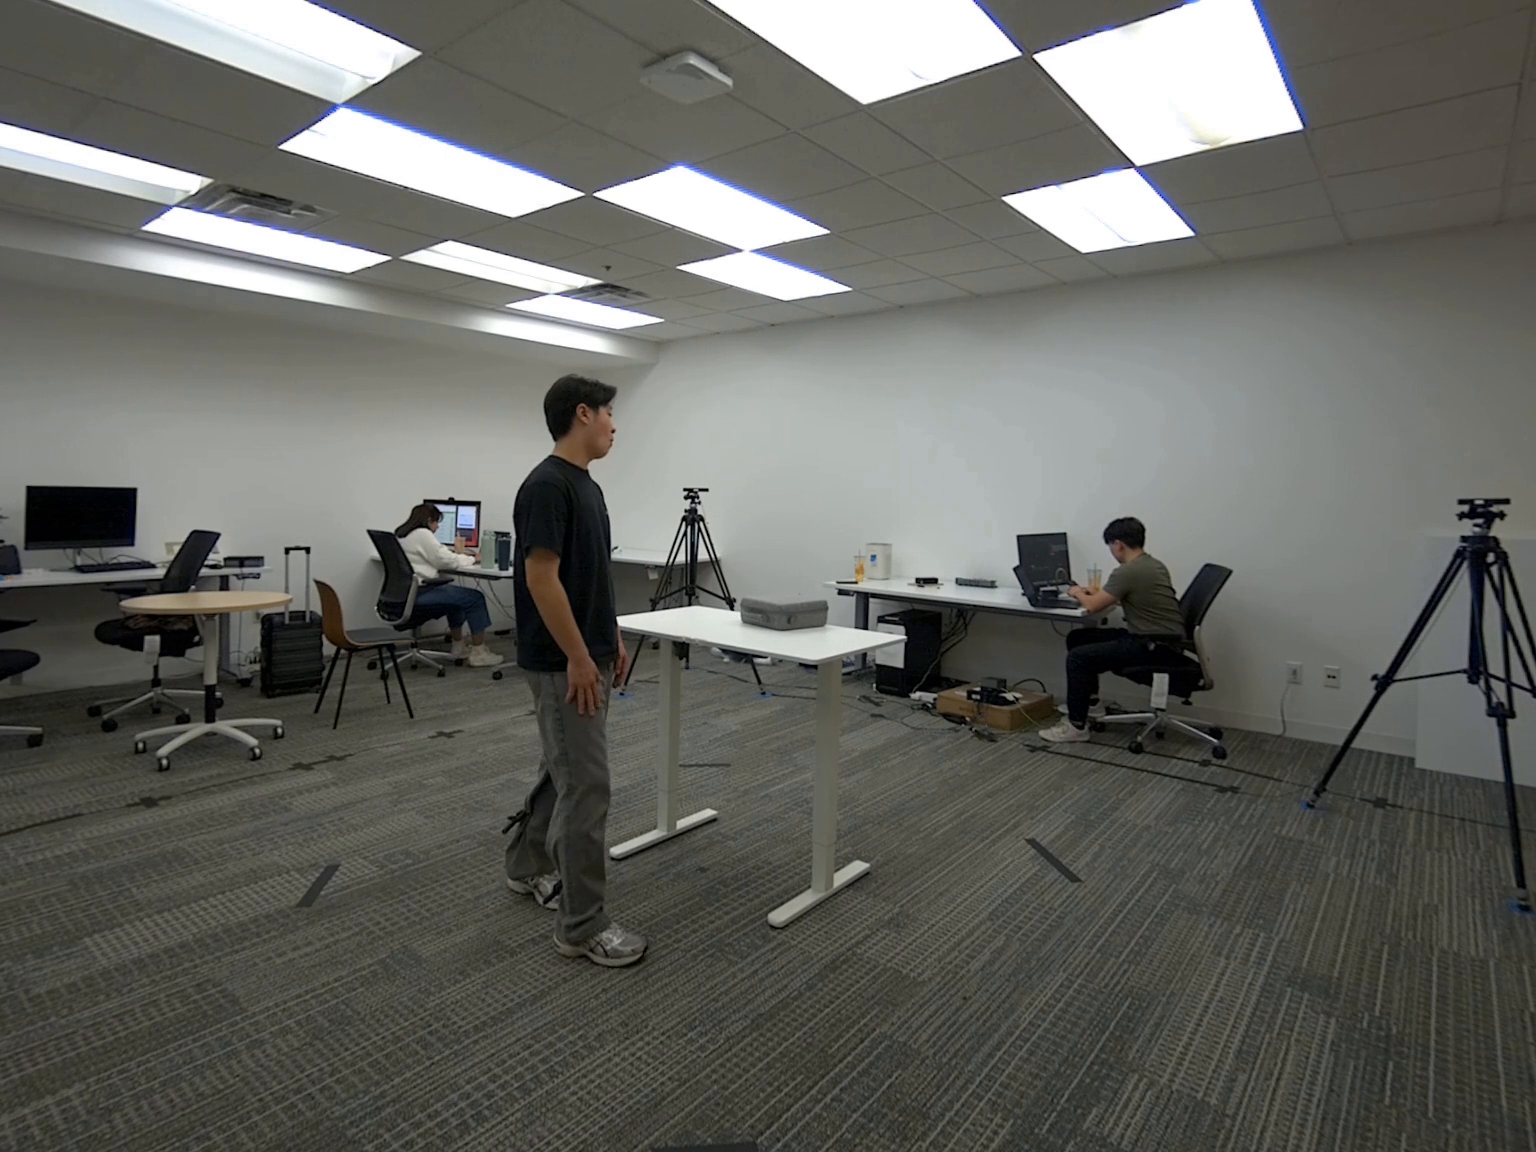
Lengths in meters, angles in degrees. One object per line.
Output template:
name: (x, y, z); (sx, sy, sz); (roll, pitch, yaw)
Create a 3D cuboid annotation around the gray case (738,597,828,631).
gray case: (0.049, 0.128, 3.222); (0.253, 0.104, 0.266); (-4, 8, -38)
